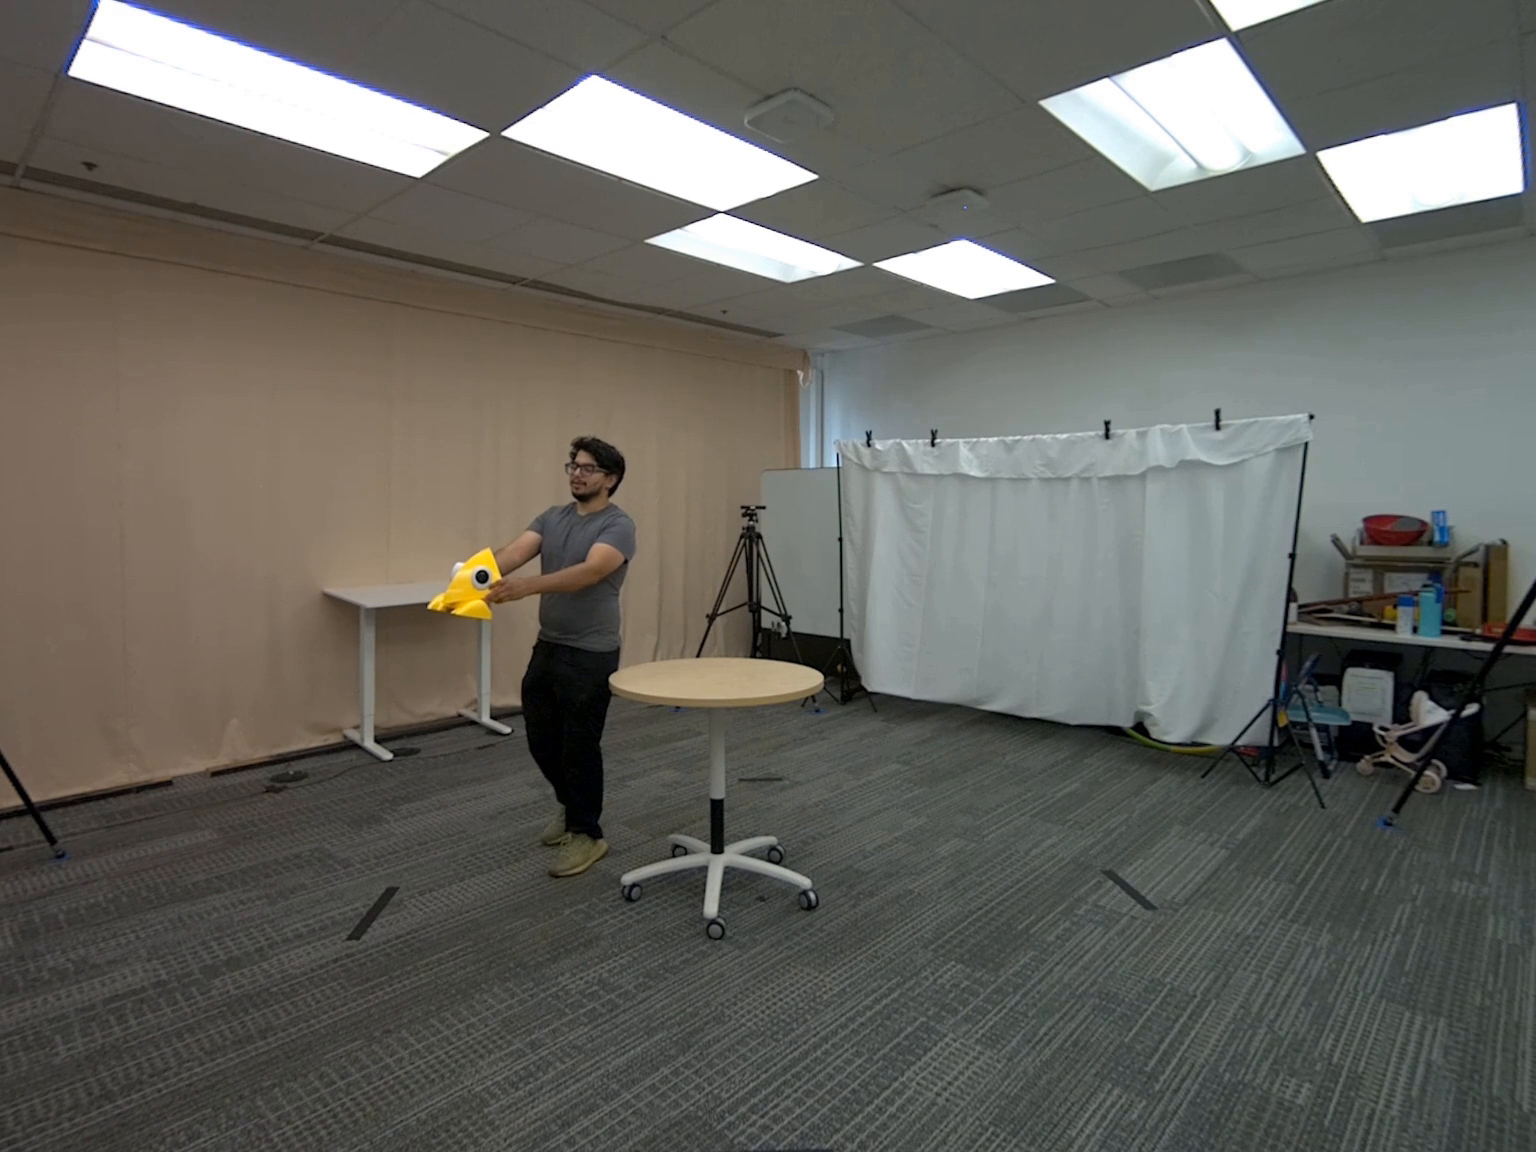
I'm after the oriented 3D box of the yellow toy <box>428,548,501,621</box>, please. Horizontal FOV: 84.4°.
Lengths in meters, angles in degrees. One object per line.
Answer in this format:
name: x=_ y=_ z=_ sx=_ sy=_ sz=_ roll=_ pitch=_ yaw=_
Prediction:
yellow toy: x=-0.974 y=0.012 z=2.771 sx=0.211 sy=0.231 sz=0.187 roll=8 pitch=-5 yaw=27
